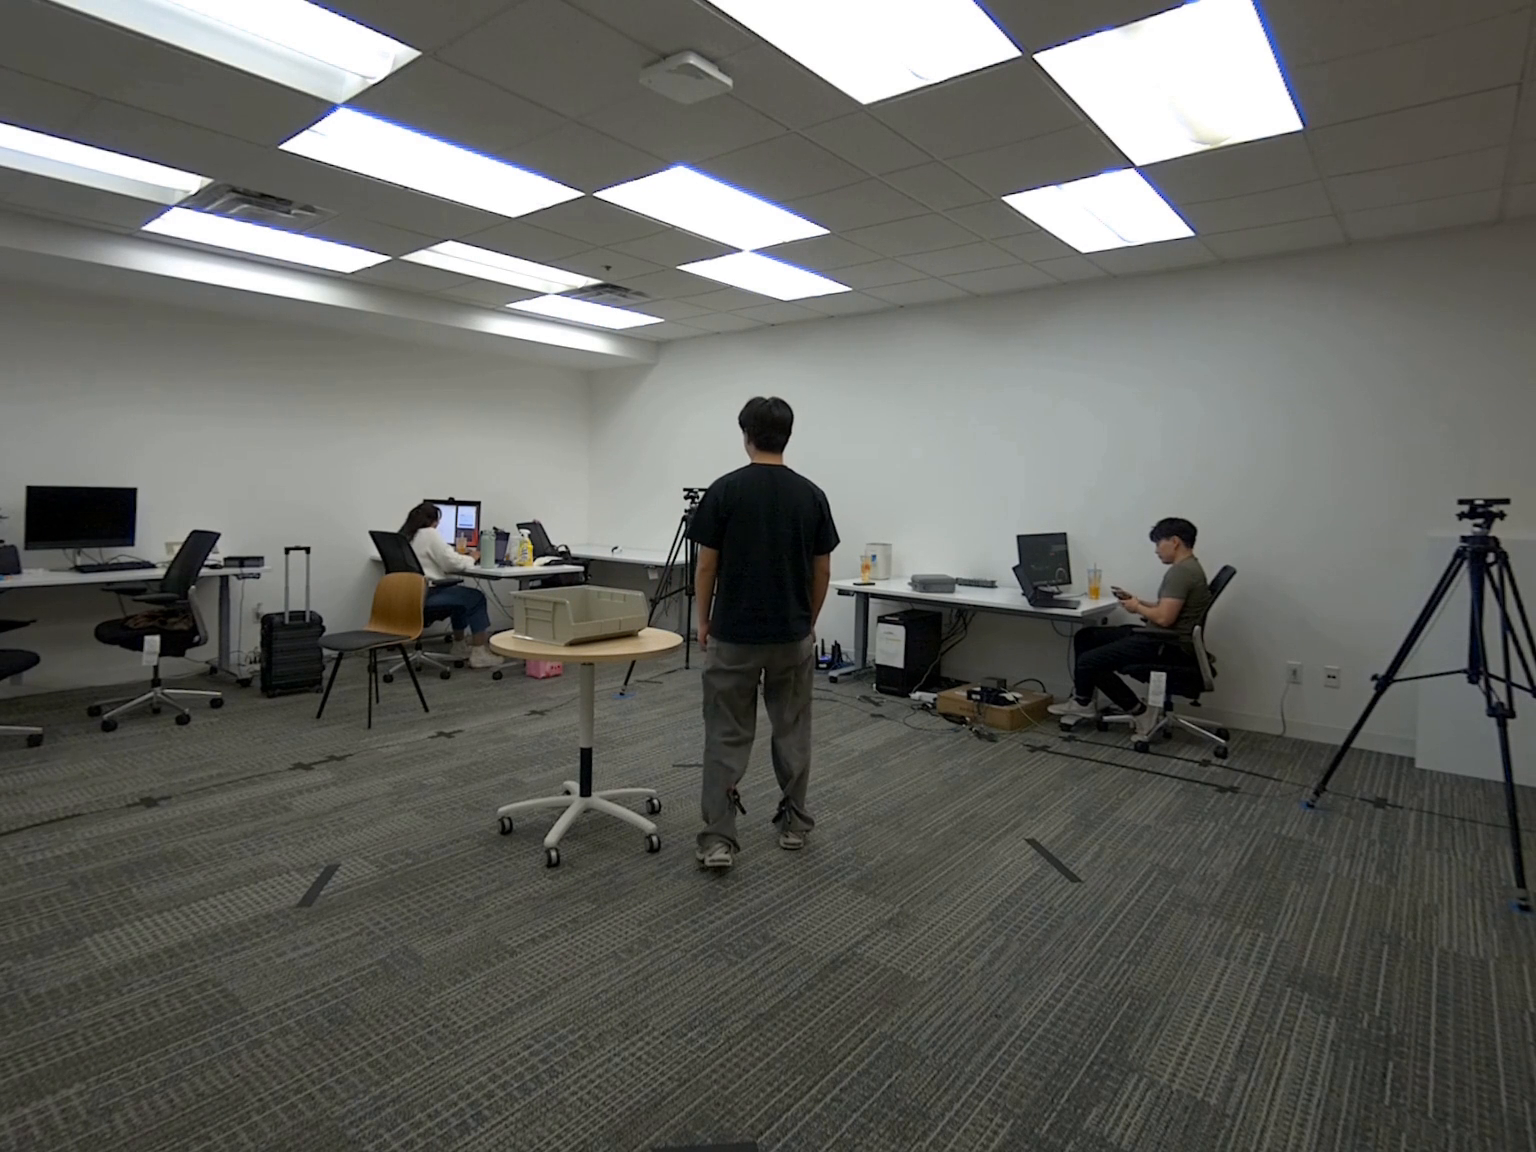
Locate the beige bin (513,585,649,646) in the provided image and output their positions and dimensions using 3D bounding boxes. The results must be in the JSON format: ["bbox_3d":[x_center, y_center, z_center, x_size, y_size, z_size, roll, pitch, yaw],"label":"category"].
[{"bbox_3d":[-0.772,0.156,3.448,0.390,0.188,0.410,4,6,37],"label":"beige bin"}]
